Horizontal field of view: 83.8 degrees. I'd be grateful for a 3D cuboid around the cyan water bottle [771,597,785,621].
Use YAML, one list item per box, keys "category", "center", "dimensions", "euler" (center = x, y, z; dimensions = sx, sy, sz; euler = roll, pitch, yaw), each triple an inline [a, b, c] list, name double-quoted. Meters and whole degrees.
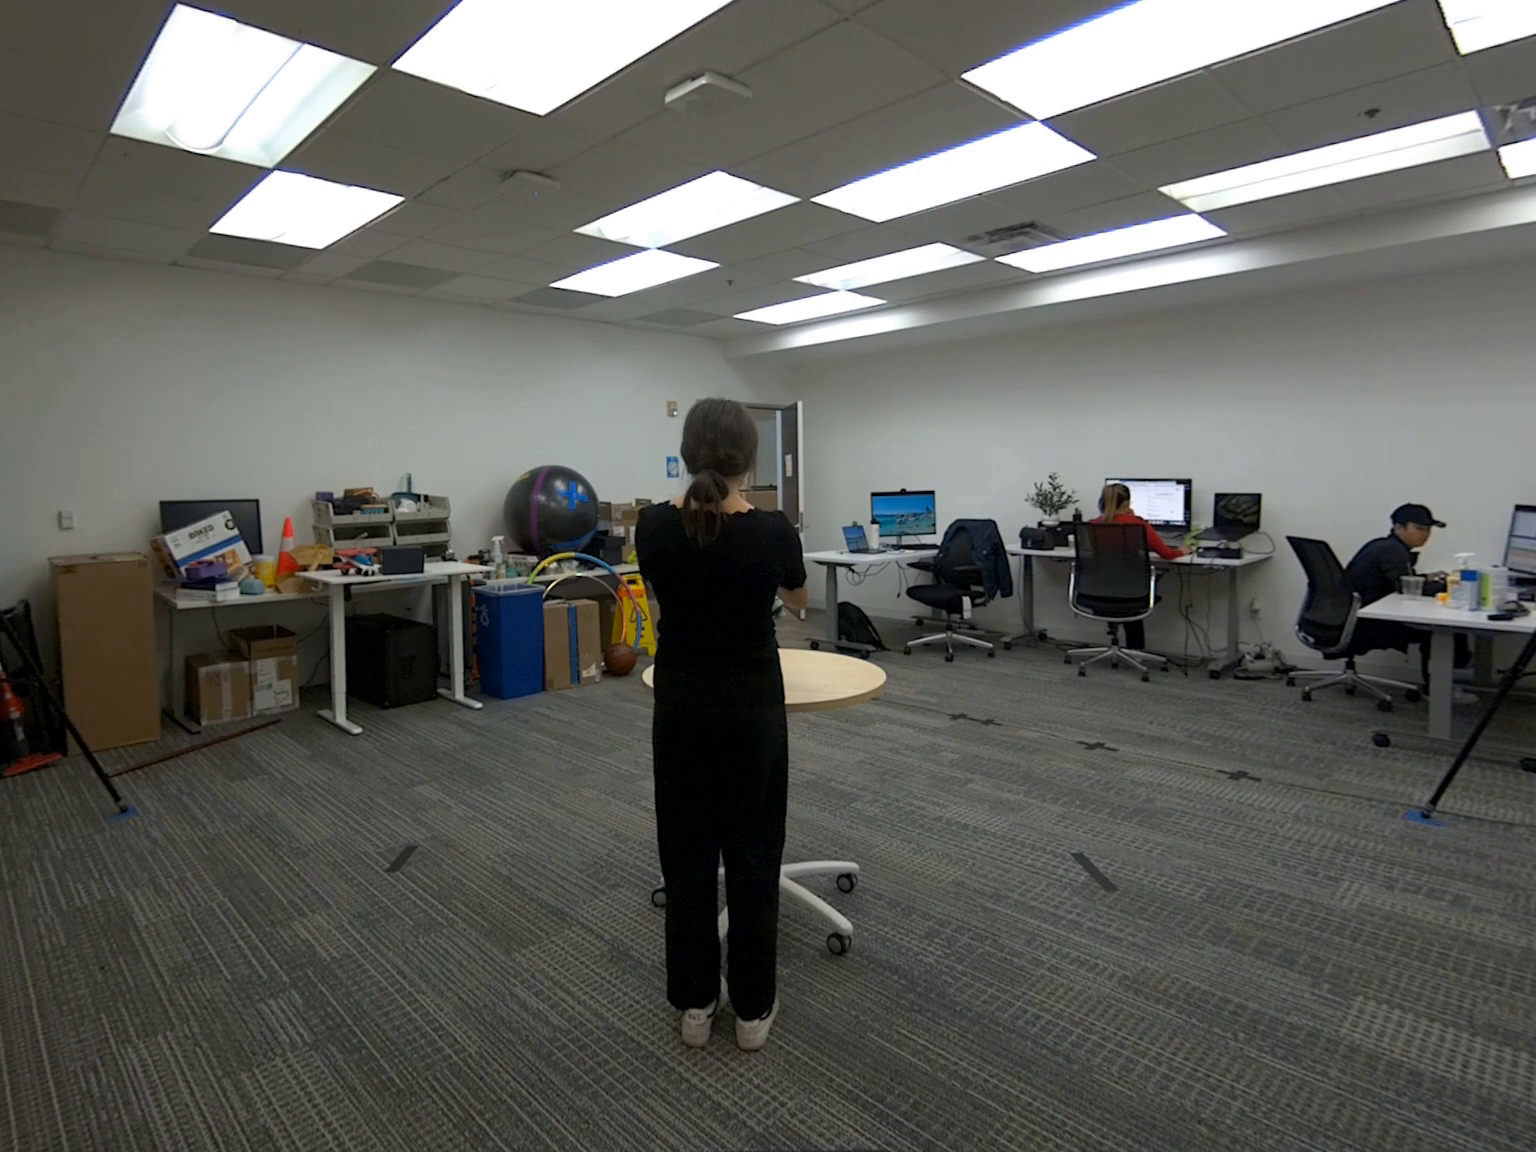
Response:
- category: "cyan water bottle"
  center: [-0.031, 0.009, 2.517]
  dimensions: [0.092, 0.287, 0.091]
  euler: [-26, -10, -6]
